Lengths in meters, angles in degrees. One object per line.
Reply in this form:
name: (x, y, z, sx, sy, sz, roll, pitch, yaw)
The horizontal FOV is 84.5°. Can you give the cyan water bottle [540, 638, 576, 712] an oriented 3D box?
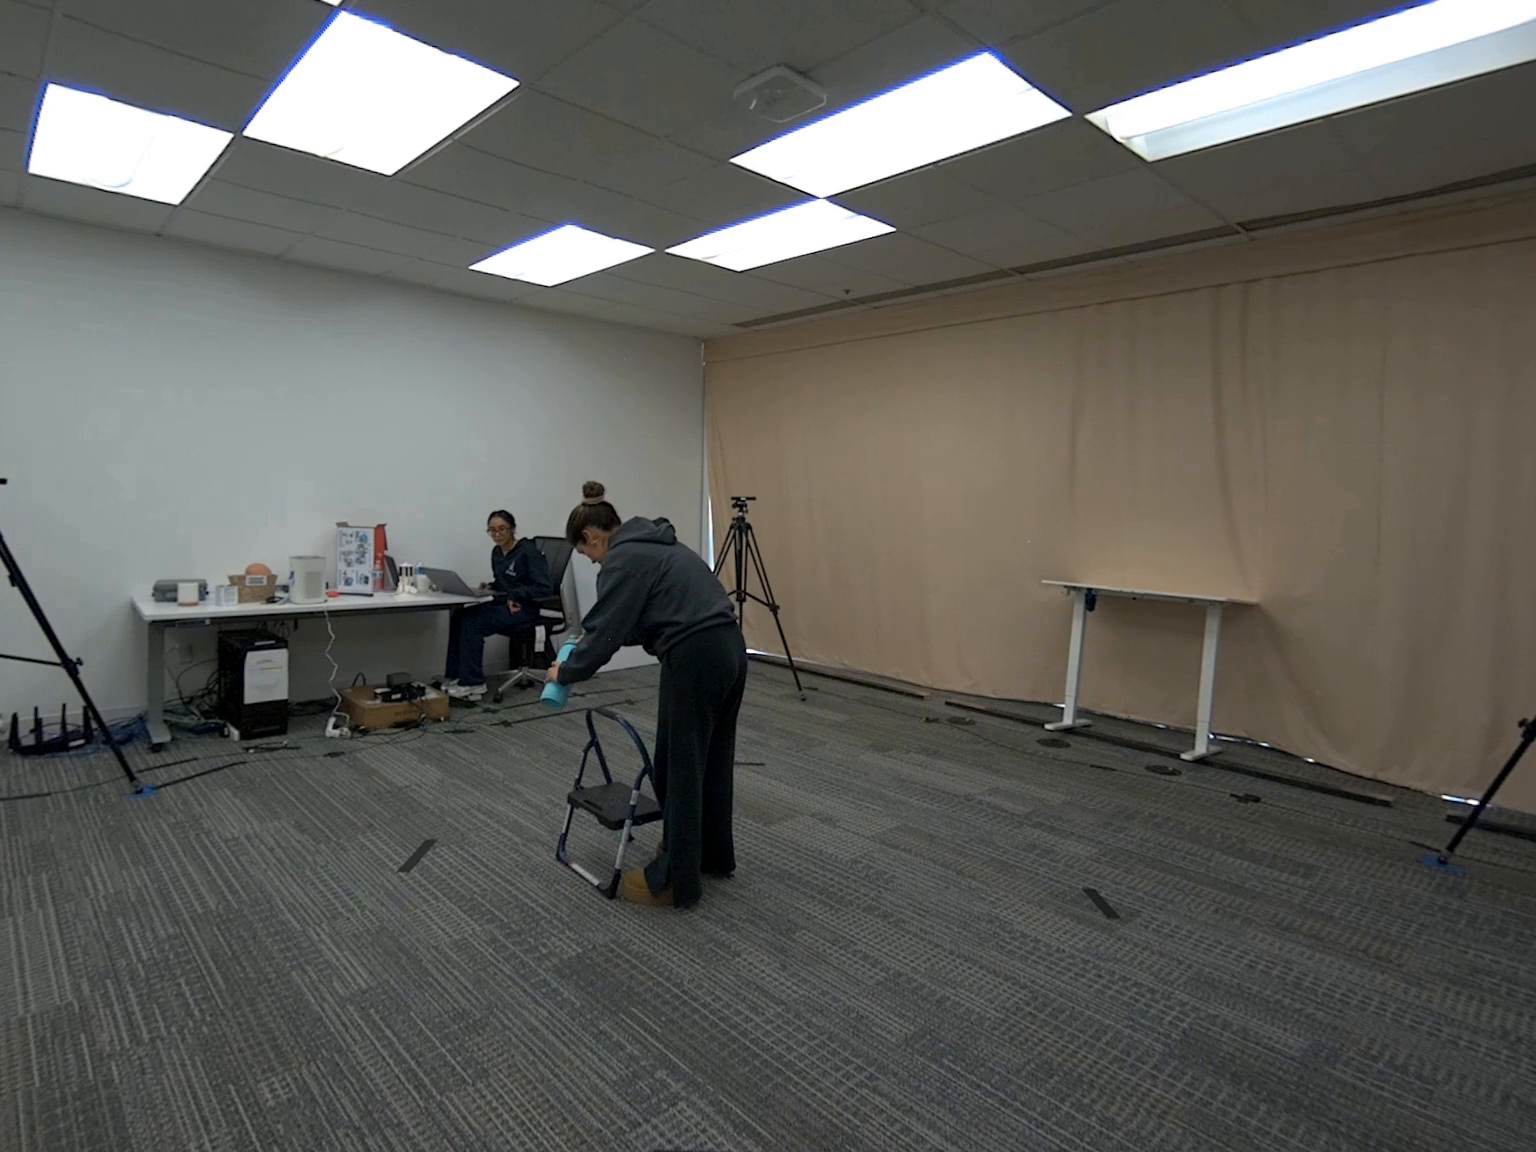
cyan water bottle: (-0.732, 0.347, 3.028, 0.093, 0.287, 0.090, 10, -35, 6)
